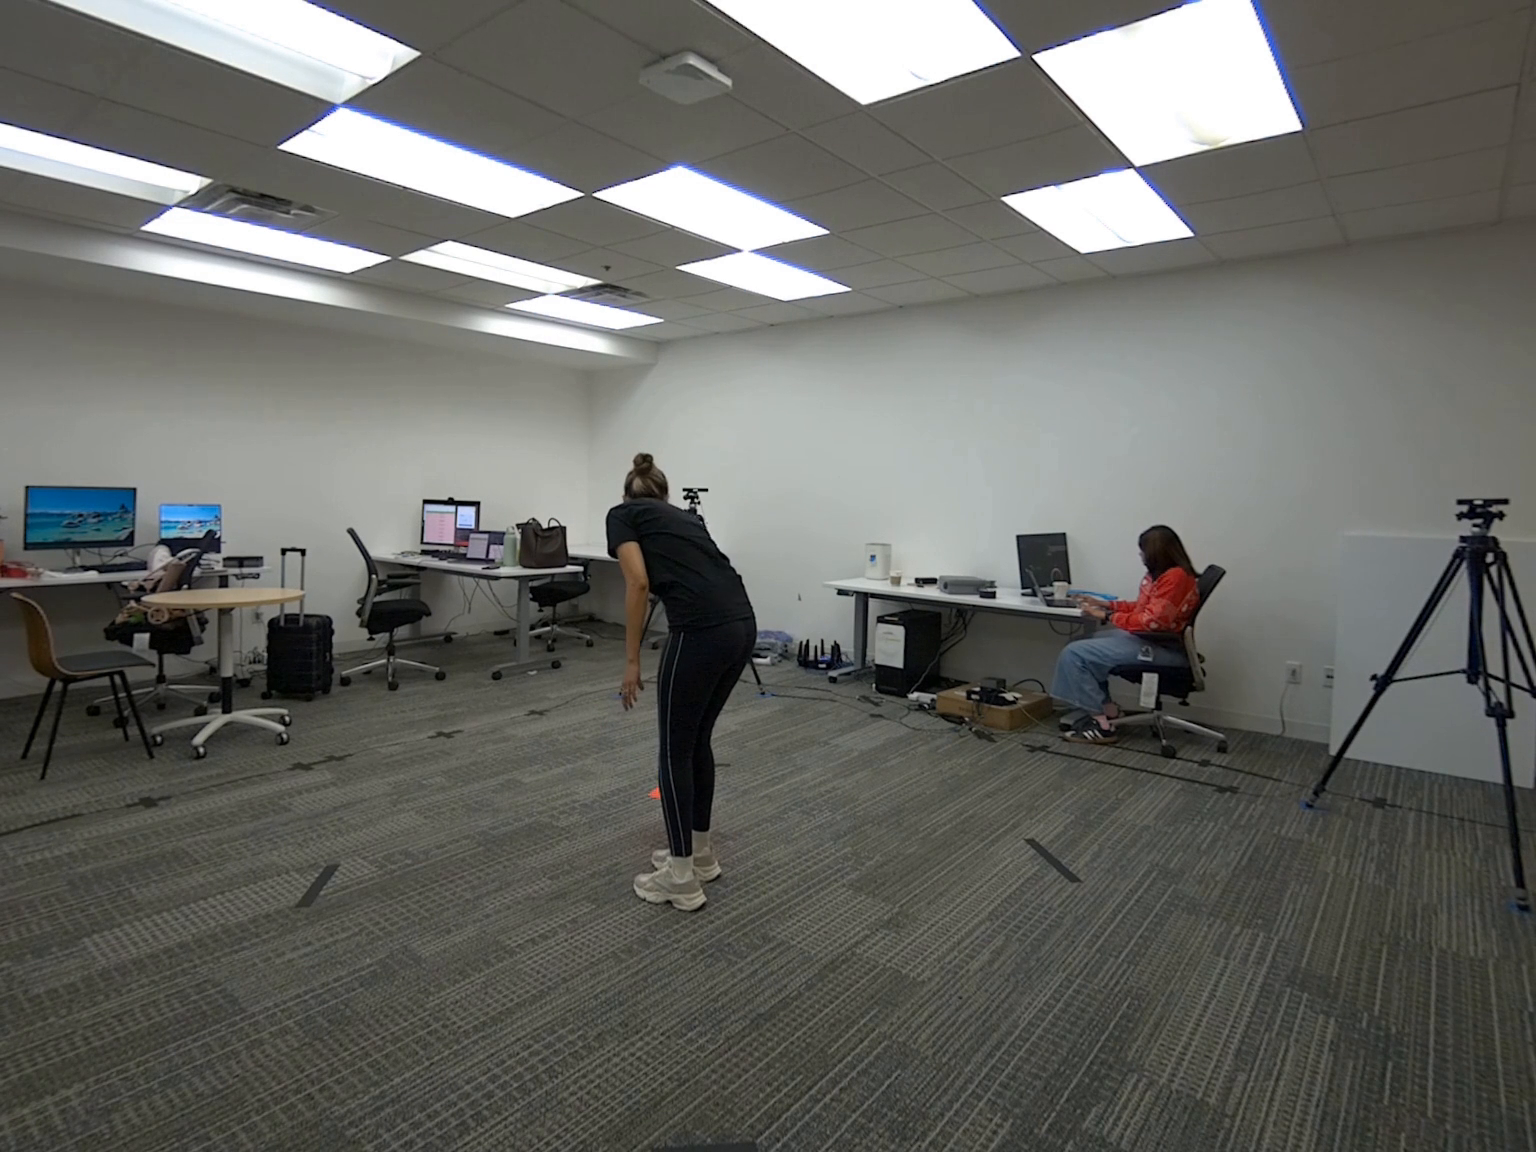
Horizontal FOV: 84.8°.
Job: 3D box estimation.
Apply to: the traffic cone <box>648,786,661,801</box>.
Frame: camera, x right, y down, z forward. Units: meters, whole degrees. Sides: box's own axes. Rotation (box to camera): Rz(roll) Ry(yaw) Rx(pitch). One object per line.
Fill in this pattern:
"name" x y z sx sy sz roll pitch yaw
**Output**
"traffic cone" -0.357 0.672 3.384 0.200 0.383 0.209 3 2 -15
